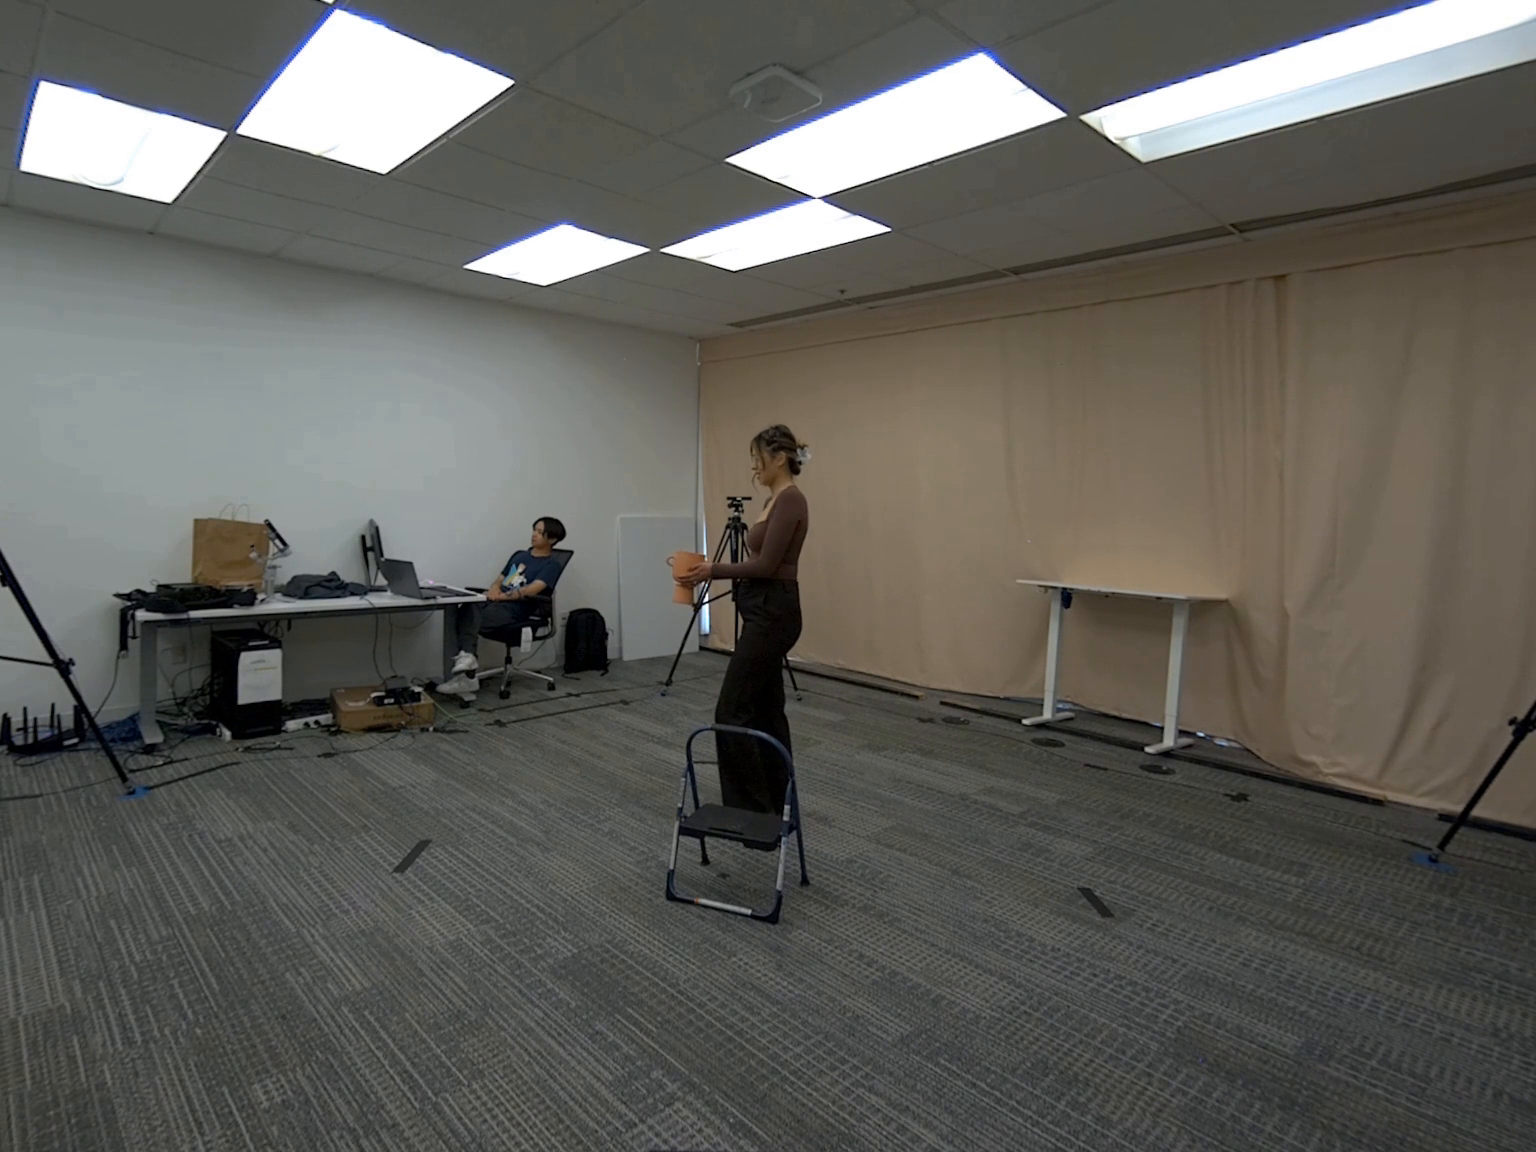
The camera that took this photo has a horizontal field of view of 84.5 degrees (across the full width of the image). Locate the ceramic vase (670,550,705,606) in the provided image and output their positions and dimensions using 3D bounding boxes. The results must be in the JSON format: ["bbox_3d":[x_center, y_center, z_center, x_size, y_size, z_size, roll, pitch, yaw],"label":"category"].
[{"bbox_3d":[-0.362,0.006,3.610,0.162,0.220,0.132,7,1,26],"label":"ceramic vase"}]
